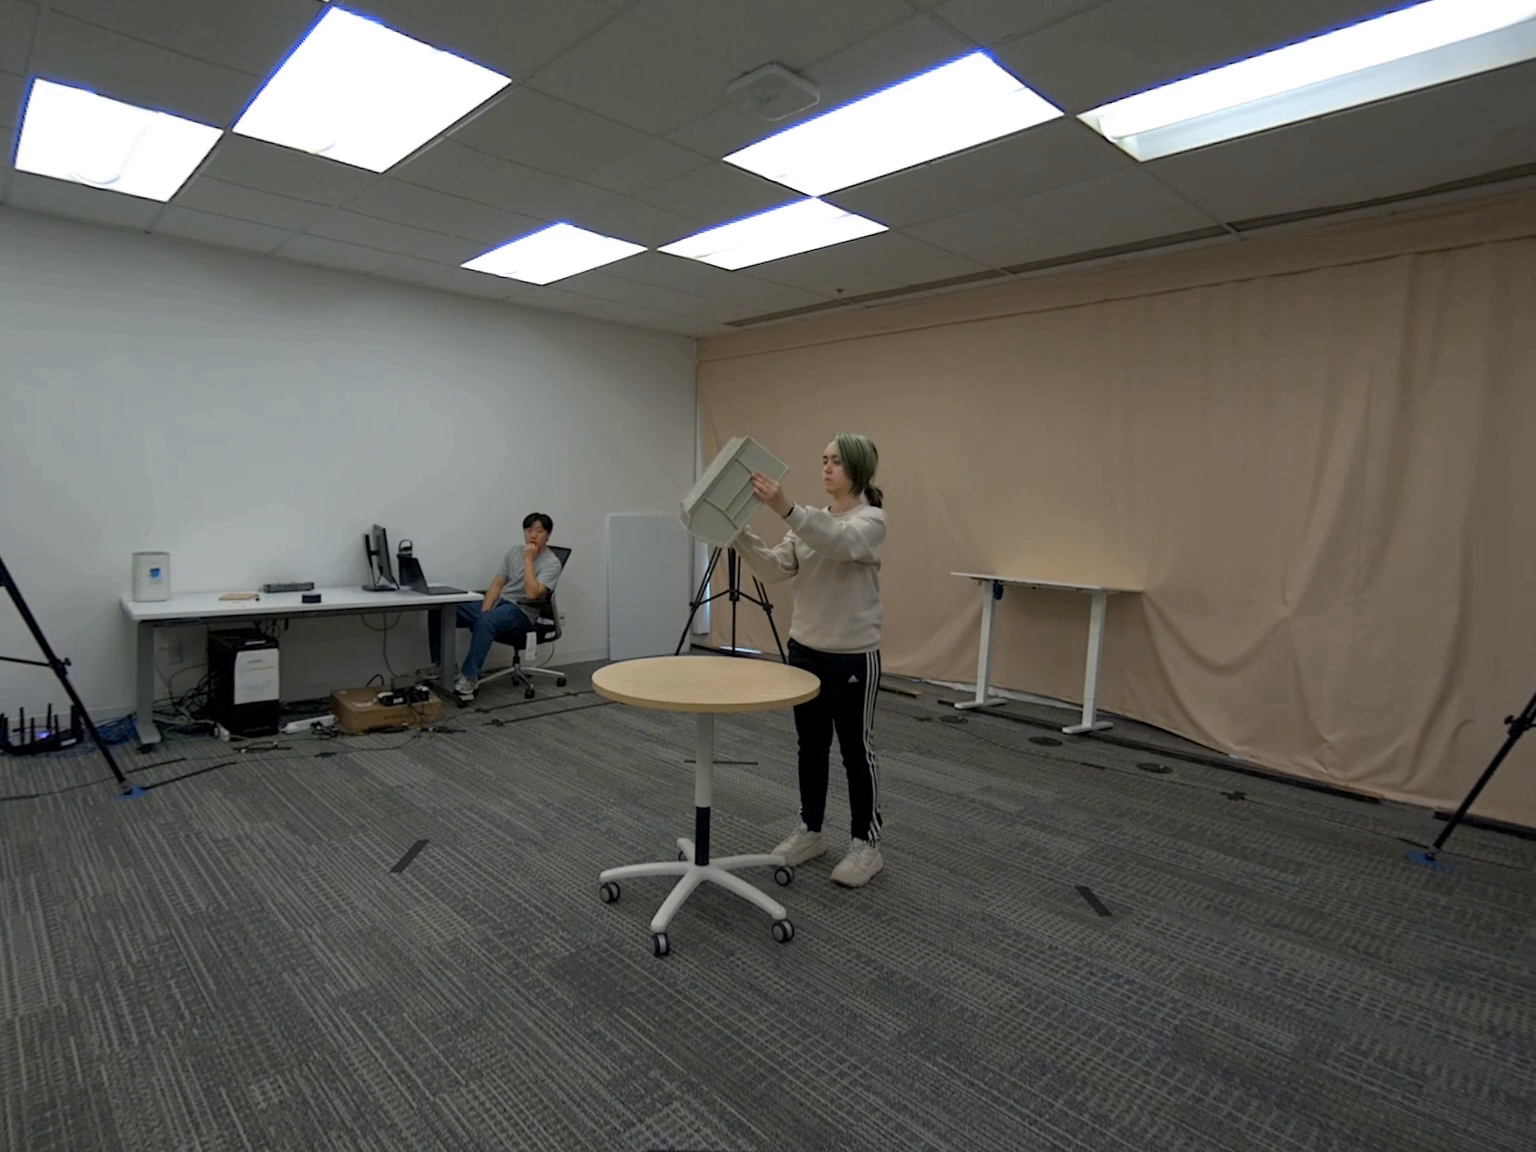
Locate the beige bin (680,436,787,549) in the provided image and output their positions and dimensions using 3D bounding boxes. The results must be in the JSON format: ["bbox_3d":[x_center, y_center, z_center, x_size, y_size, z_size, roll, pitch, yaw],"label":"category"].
[{"bbox_3d":[-0.148,-0.288,2.913,0.187,0.377,0.427,38,1,-13],"label":"beige bin"}]
